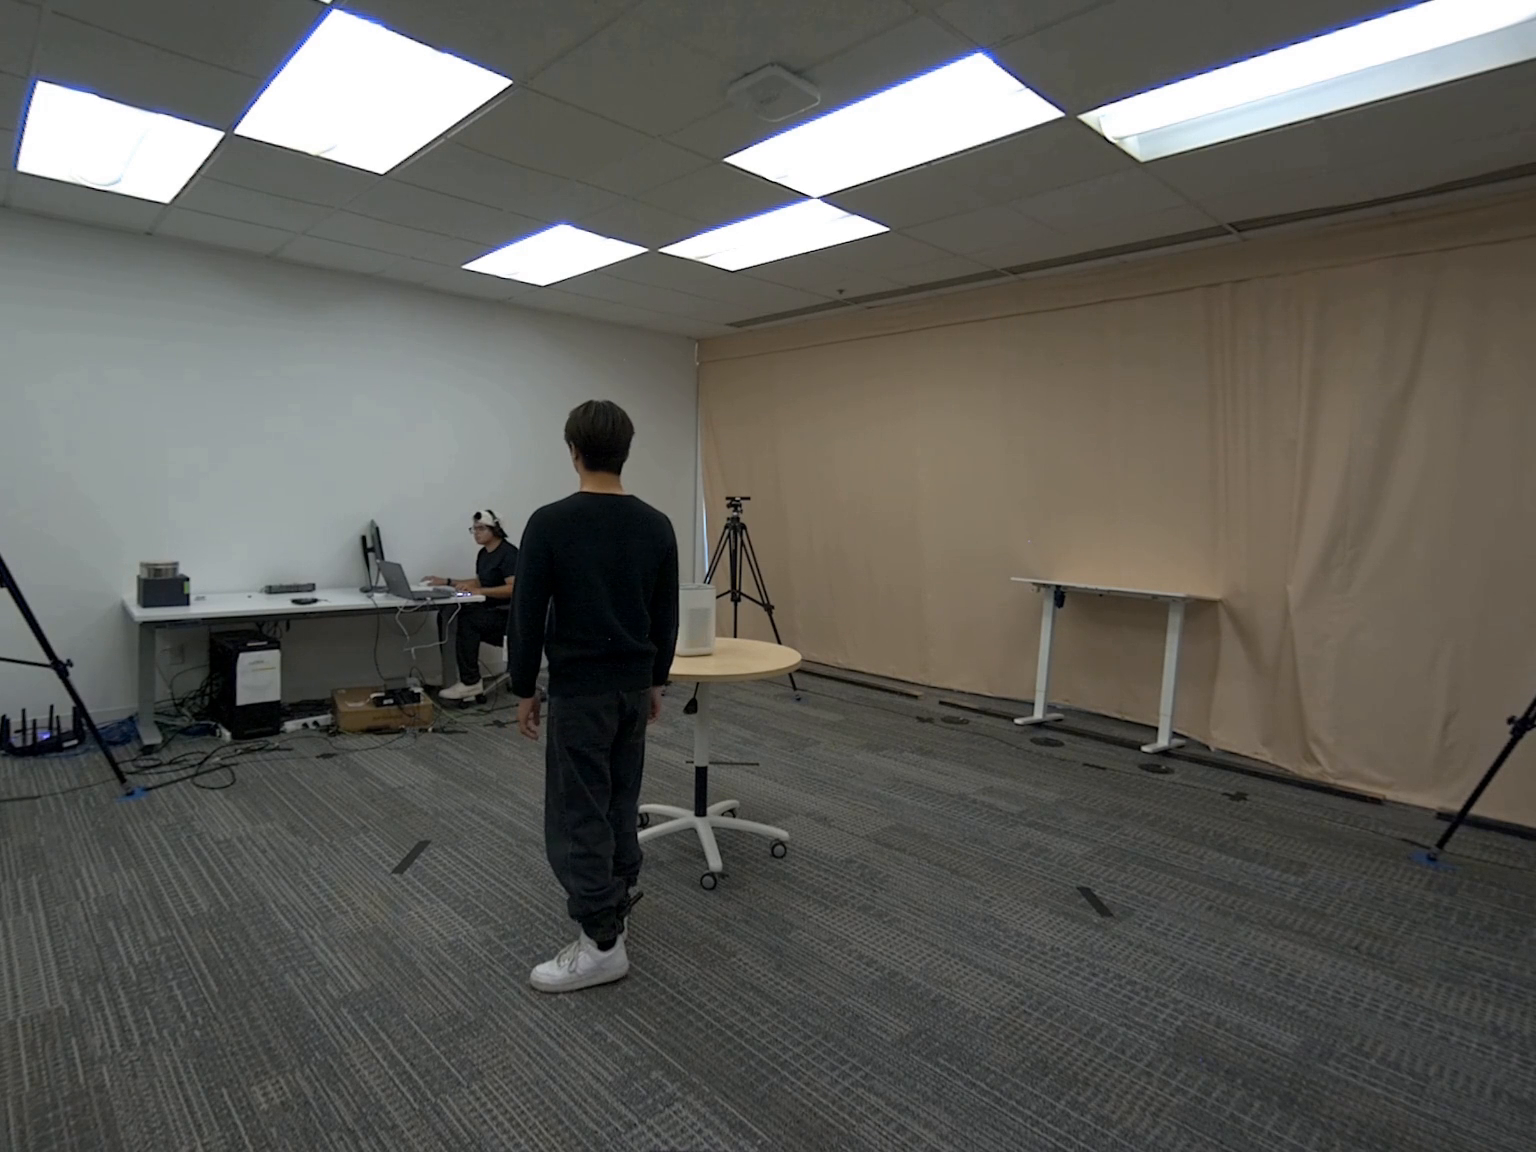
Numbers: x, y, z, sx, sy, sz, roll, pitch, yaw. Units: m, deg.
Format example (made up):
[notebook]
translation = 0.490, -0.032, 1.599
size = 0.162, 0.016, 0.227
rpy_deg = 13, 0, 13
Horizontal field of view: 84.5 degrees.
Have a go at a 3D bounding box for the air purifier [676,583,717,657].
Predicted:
[air purifier]
translation = -0.303, 0.169, 3.283
size = 0.168, 0.264, 0.175
rpy_deg = -2, 6, -25
